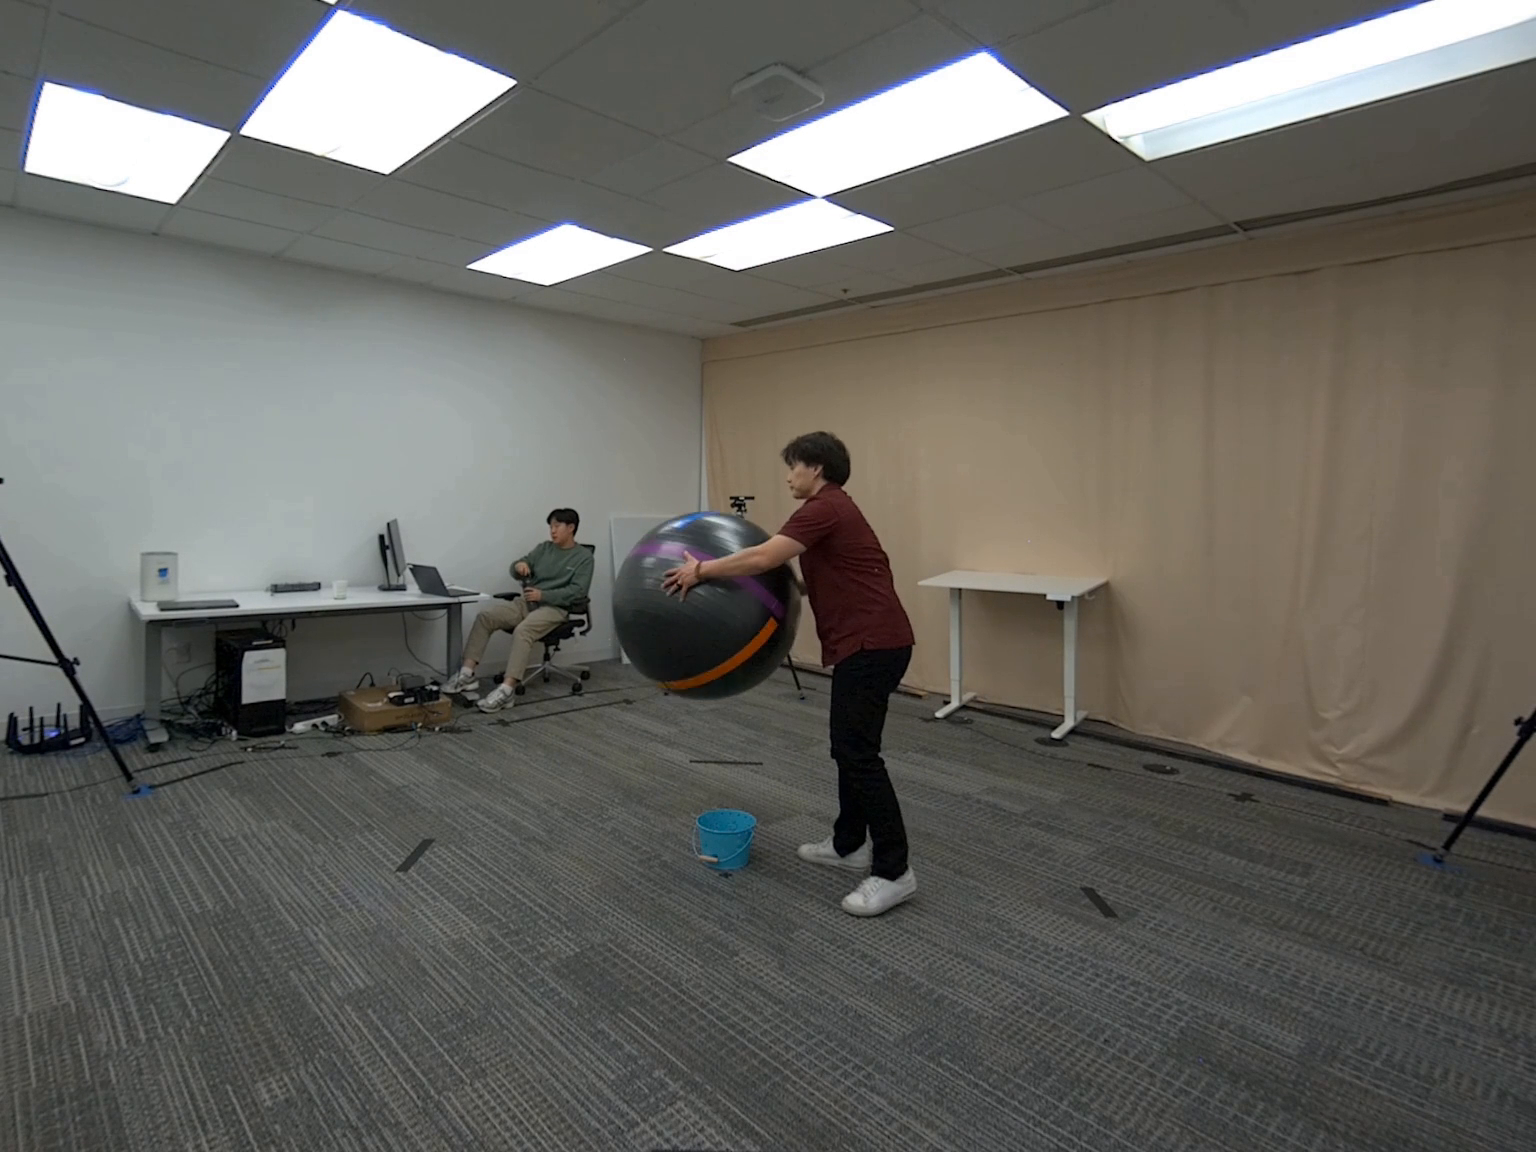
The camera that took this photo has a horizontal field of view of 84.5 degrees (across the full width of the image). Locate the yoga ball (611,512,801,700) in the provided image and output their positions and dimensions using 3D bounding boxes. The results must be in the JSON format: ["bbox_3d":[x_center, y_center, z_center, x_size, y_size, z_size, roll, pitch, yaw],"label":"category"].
[{"bbox_3d":[-0.253,0.123,3.404,0.757,0.756,0.761,1,4,-1],"label":"yoga ball"}]
